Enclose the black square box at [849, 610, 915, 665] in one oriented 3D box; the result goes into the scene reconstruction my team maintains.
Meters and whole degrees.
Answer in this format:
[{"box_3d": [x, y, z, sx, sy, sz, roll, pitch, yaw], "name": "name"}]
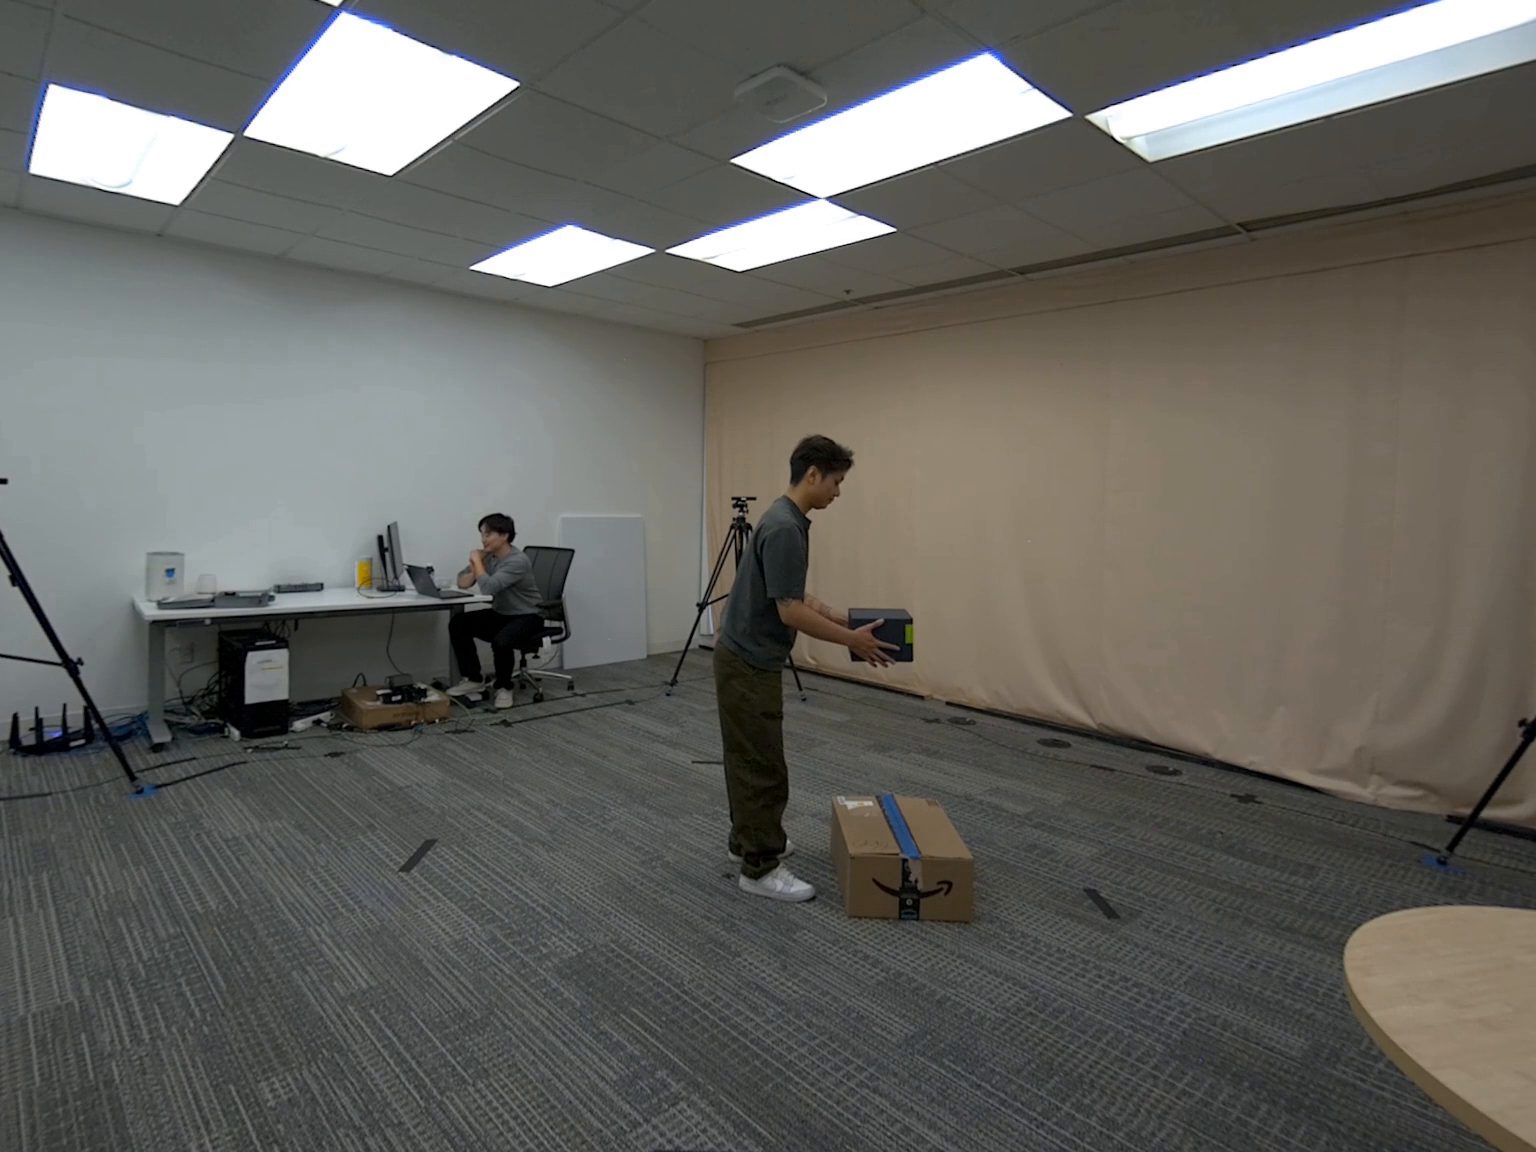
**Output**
[{"box_3d": [0.402, 0.215, 3.034, 0.218, 0.155, 0.227, 0, 4, 5], "name": "black square box"}]
